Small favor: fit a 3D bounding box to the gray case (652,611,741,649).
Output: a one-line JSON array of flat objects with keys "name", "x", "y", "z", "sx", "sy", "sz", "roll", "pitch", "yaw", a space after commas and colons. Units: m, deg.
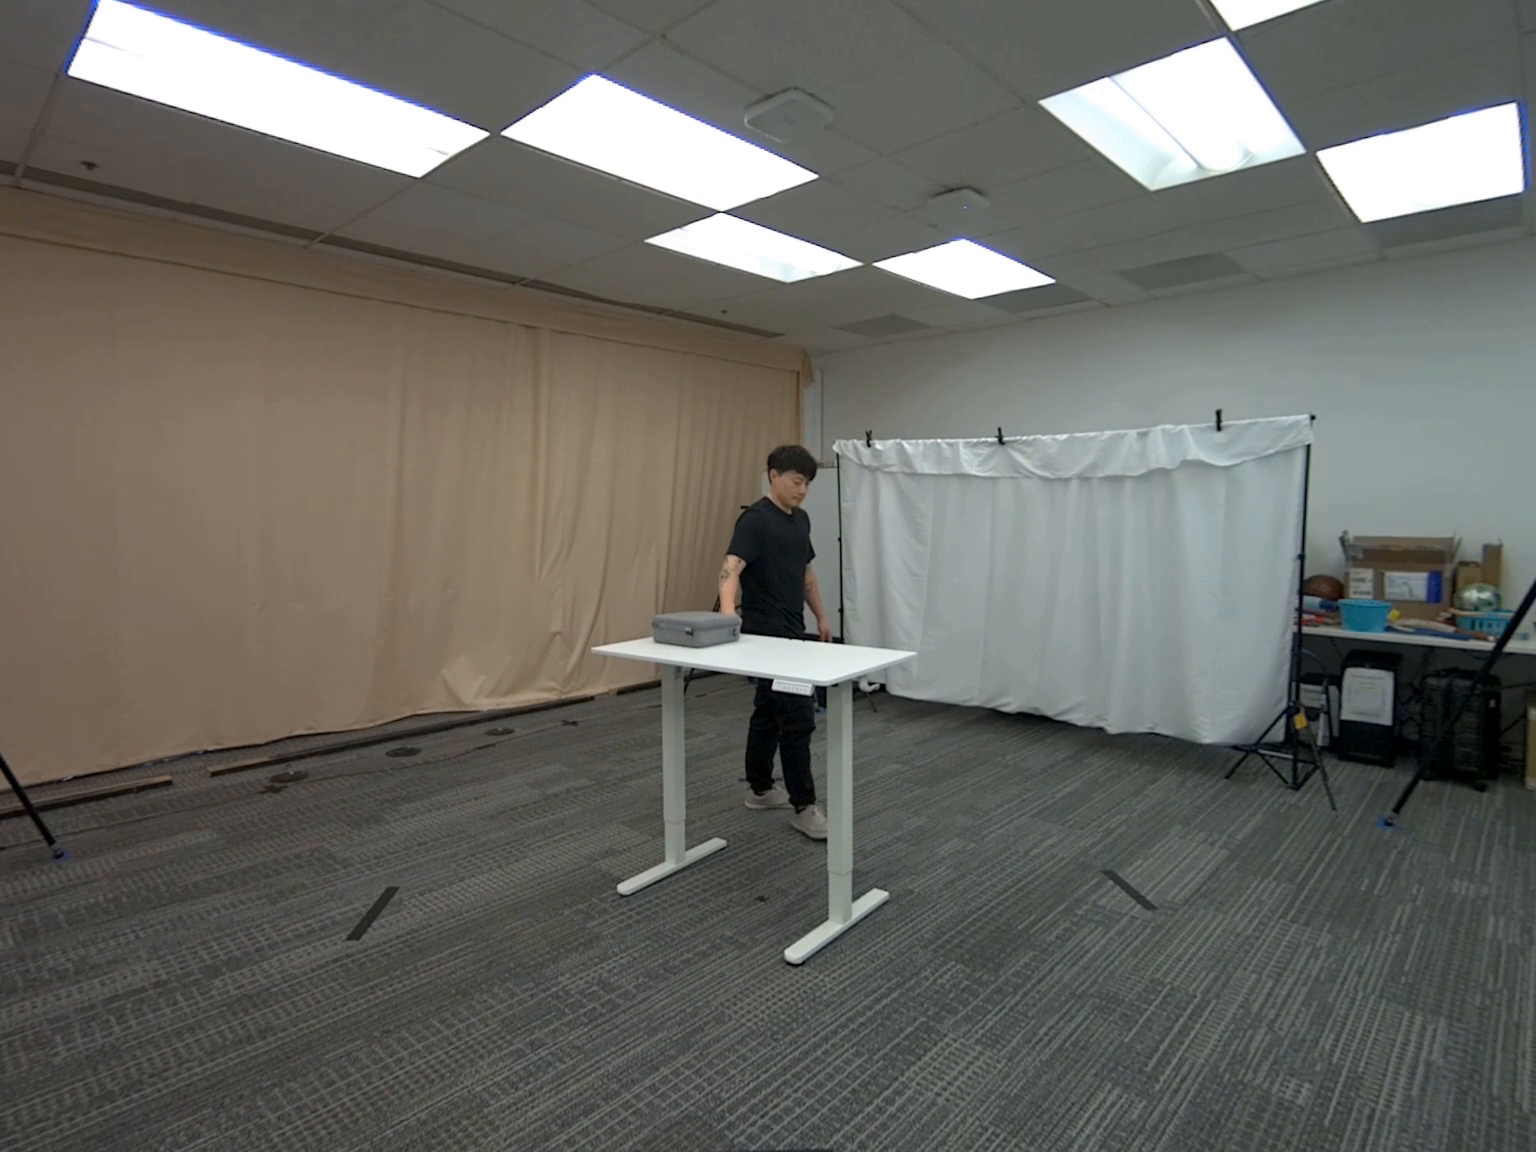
[{"name": "gray case", "x": -0.272, "y": 0.196, "z": 3.177, "sx": 0.265, "sy": 0.104, "sz": 0.253, "roll": 2, "pitch": 4, "yaw": 40}]
